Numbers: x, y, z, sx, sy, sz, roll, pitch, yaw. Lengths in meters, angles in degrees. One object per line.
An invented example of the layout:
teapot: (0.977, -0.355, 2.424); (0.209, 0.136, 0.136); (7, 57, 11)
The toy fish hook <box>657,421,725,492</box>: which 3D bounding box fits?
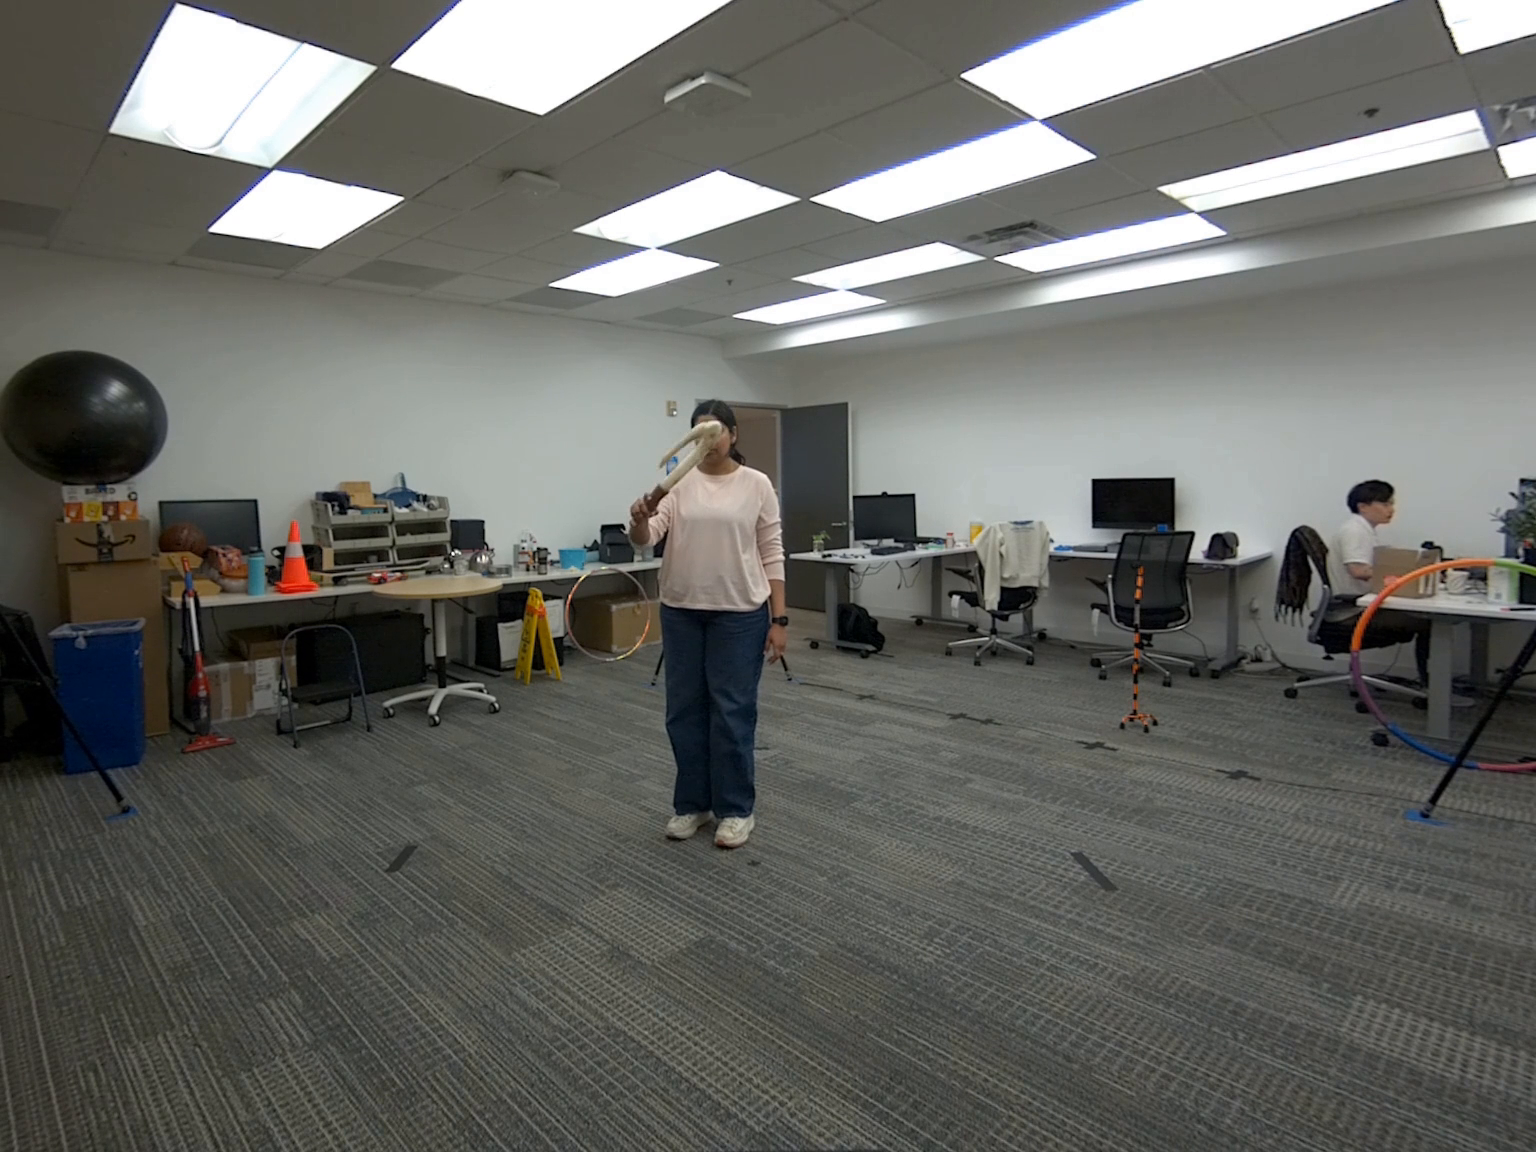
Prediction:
toy fish hook: (-0.337, -0.312, 2.748); (0.506, 0.049, 0.220); (-47, -15, 31)
